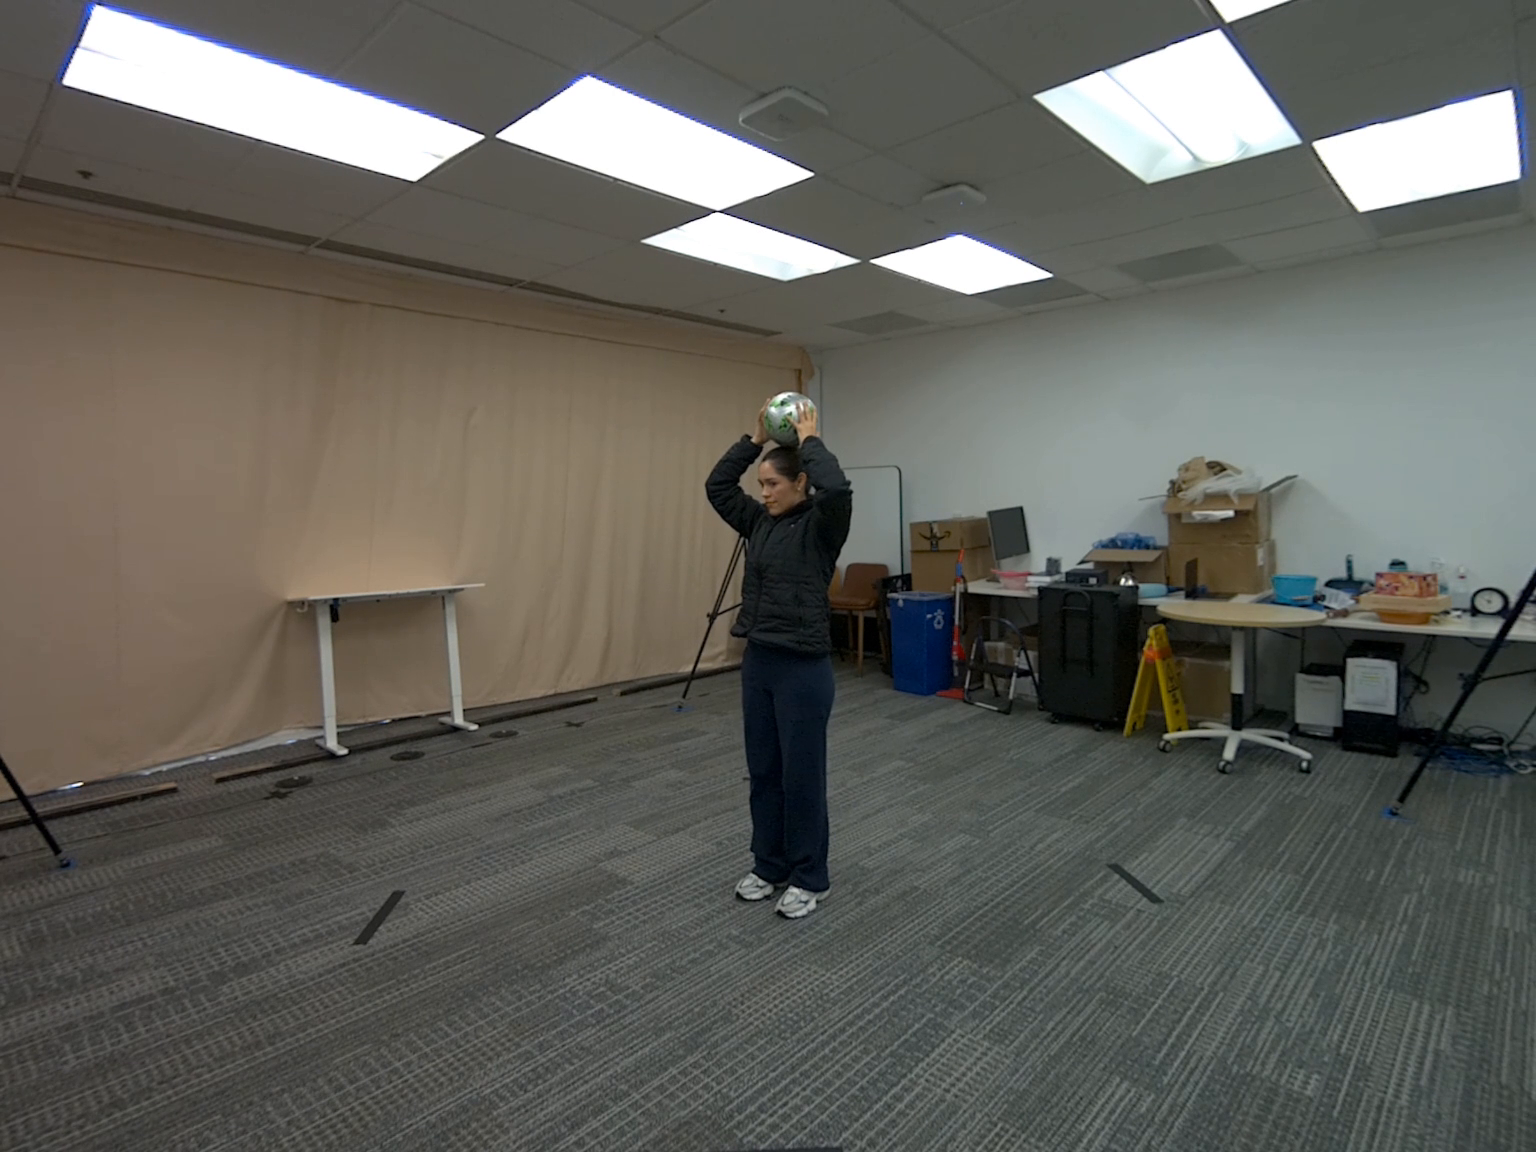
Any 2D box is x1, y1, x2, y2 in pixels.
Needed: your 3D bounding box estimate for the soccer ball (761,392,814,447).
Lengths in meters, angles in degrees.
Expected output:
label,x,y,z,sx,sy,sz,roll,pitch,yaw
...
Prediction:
label,x,y,z,sx,sy,sz,roll,pitch,yaw
soccer ball,0.073,-0.539,2.903,0.187,0.187,0.188,-1,4,-2
